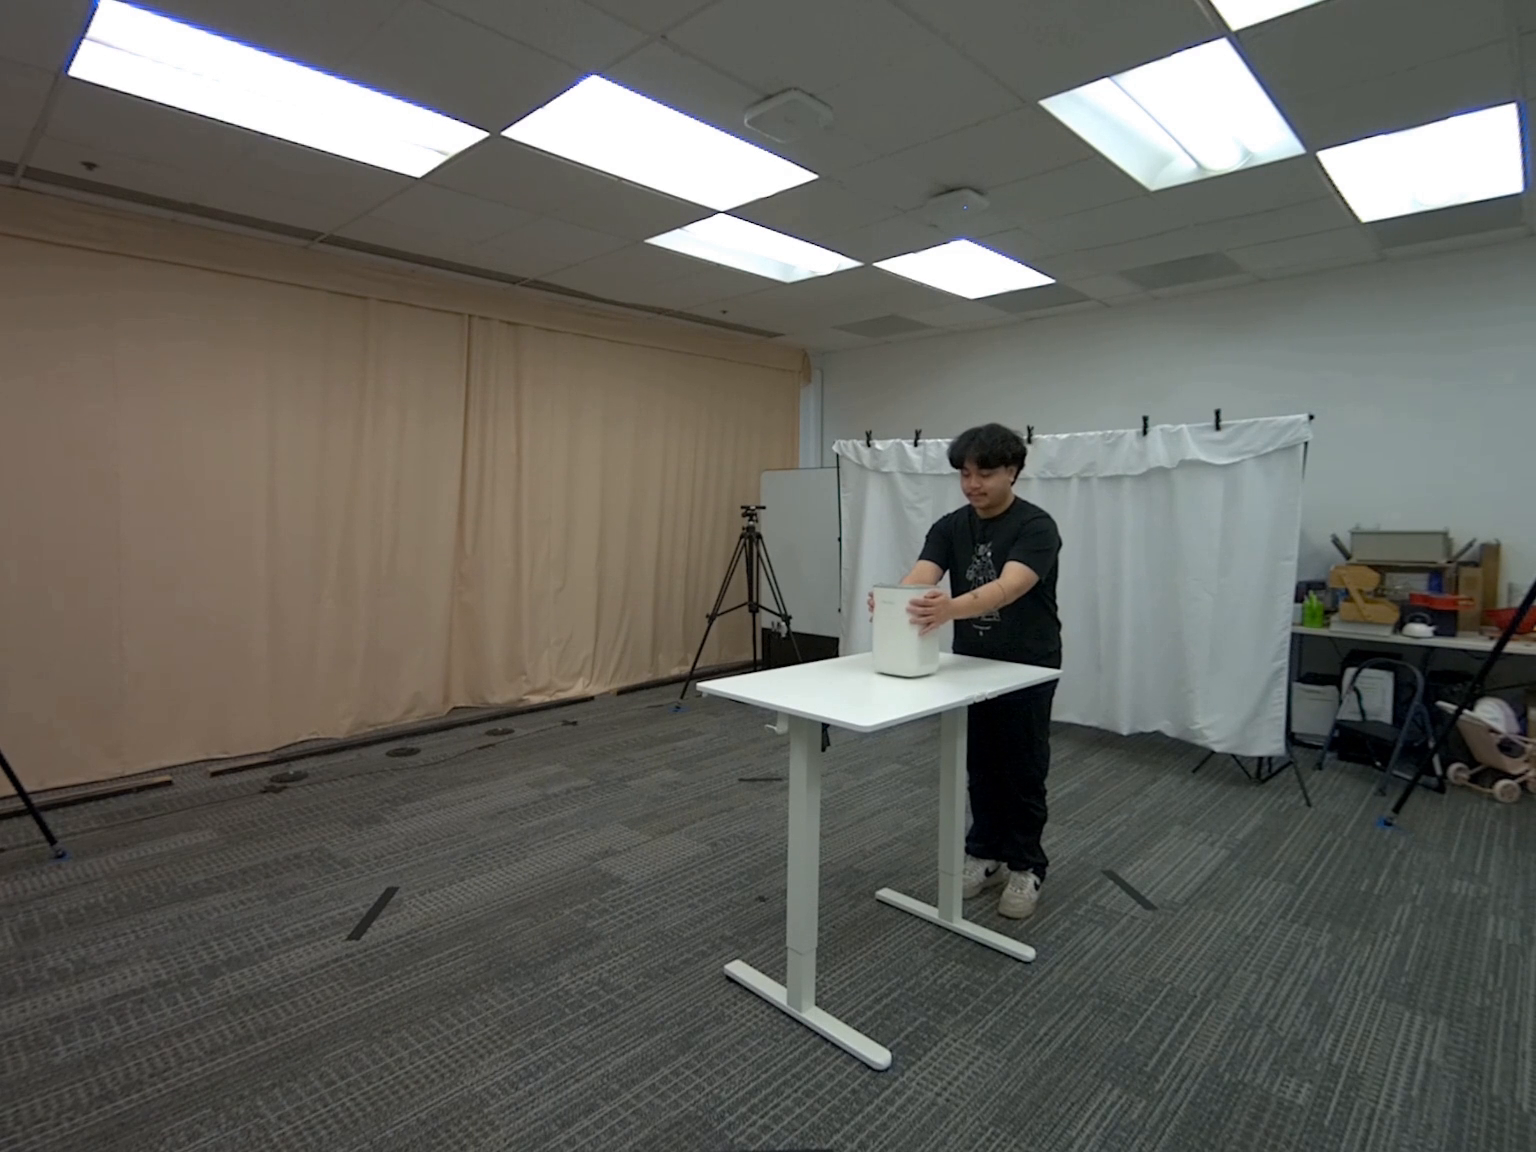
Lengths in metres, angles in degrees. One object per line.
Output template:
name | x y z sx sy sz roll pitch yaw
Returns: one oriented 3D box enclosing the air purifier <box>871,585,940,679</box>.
air purifier | 0.417 0.159 2.549 0.177 0.265 0.166 3 1 45
